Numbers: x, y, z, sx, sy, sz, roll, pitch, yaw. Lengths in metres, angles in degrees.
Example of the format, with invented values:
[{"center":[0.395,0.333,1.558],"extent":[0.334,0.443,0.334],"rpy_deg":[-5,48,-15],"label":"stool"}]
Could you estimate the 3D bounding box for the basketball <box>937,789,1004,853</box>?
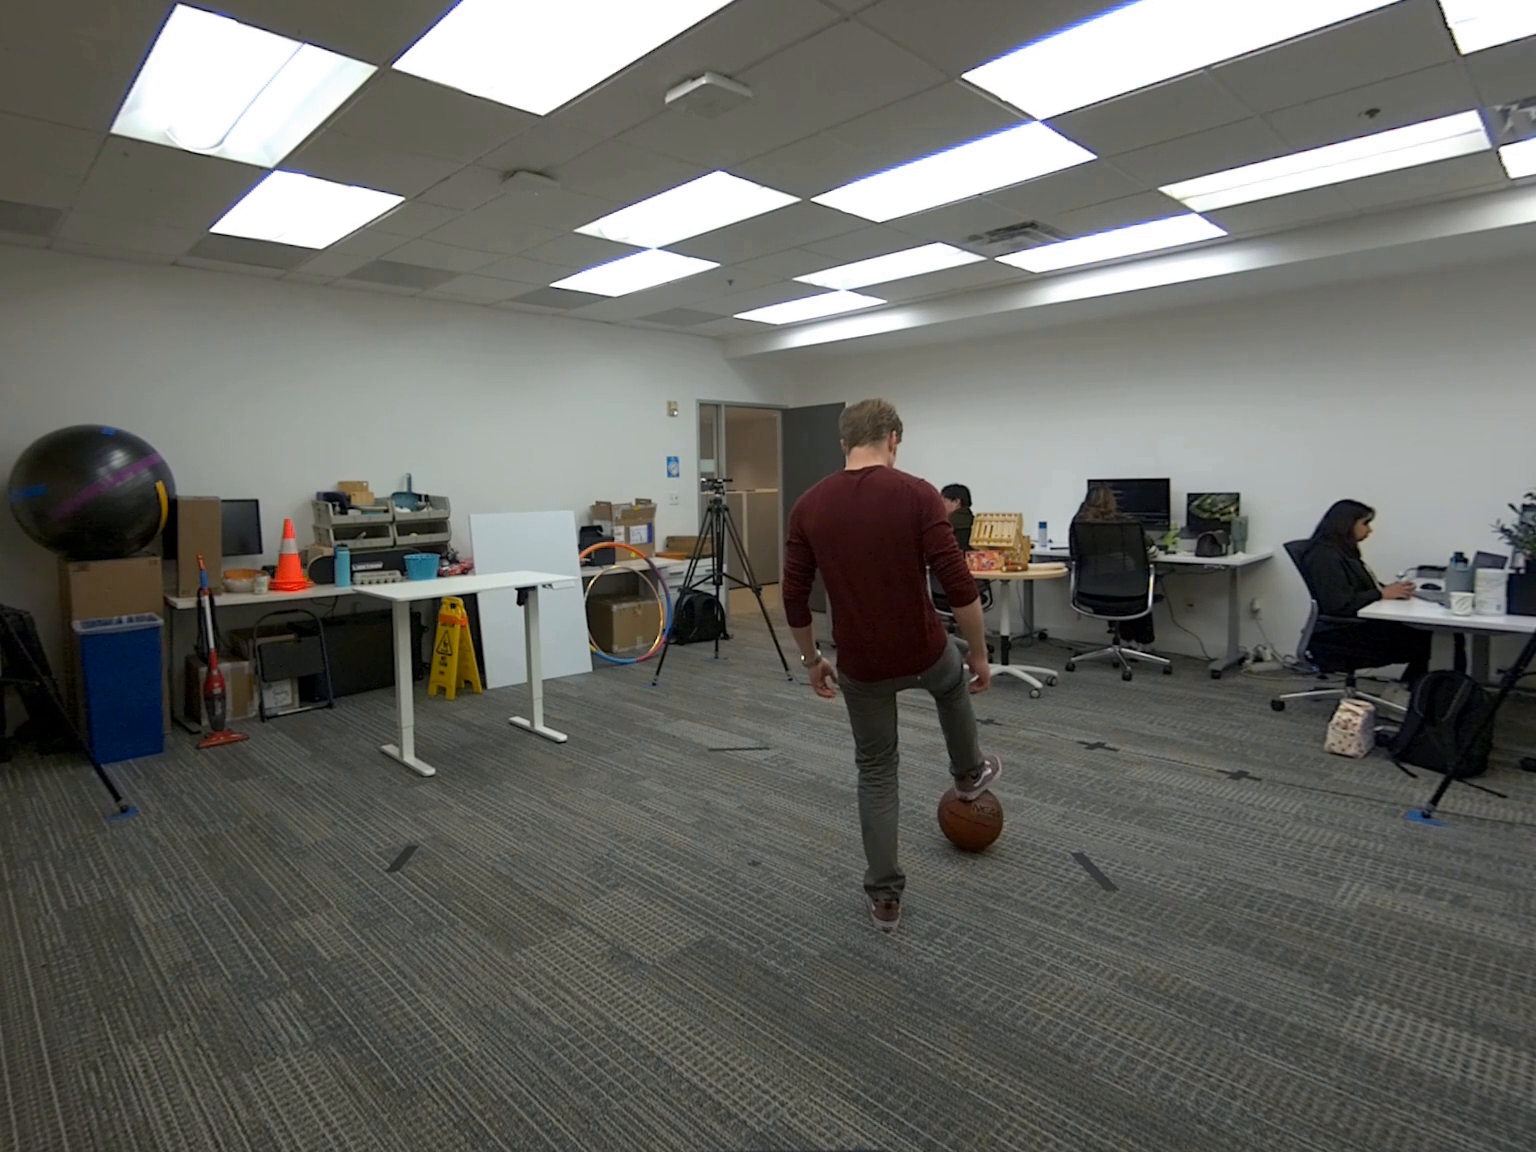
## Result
[{"center":[0.759,0.901,3.209],"extent":[0.236,0.235,0.237],"rpy_deg":[-1,5,-2],"label":"basketball"}]
